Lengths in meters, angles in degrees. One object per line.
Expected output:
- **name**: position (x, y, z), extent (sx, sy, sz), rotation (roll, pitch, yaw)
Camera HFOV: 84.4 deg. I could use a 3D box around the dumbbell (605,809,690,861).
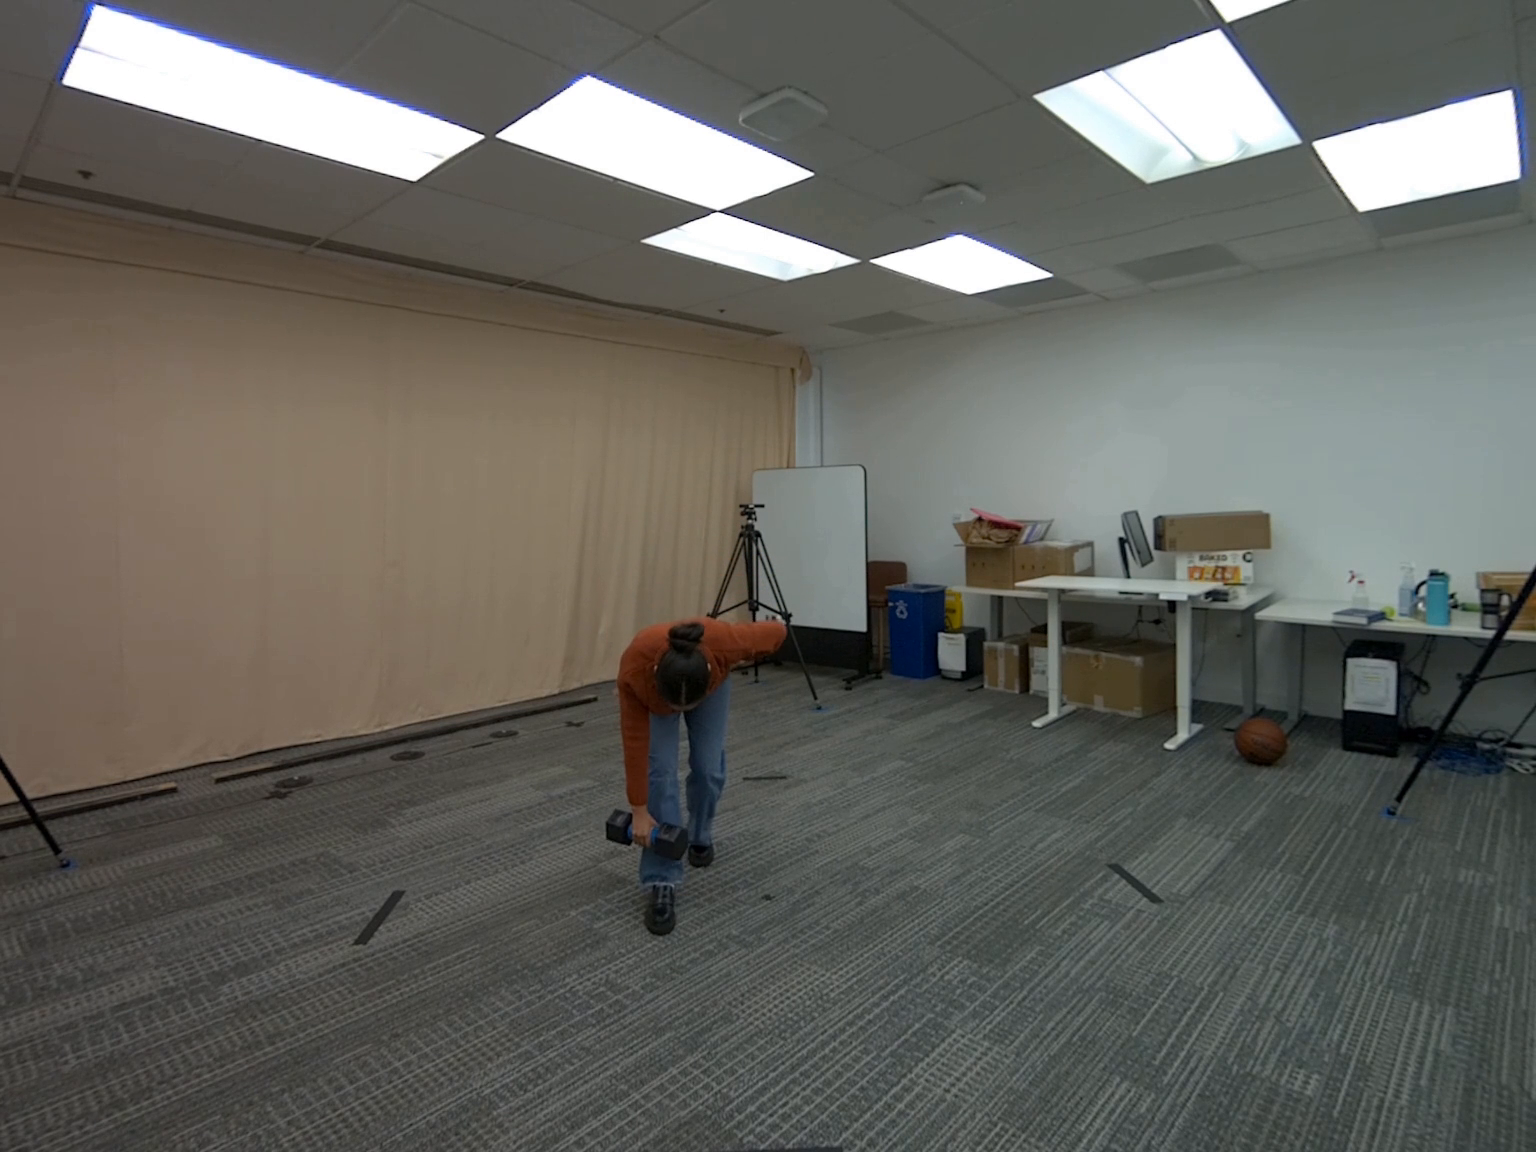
- **dumbbell**: position (-0.421, 0.893, 2.890), extent (0.303, 0.122, 0.106), rotation (4, 6, 33)
